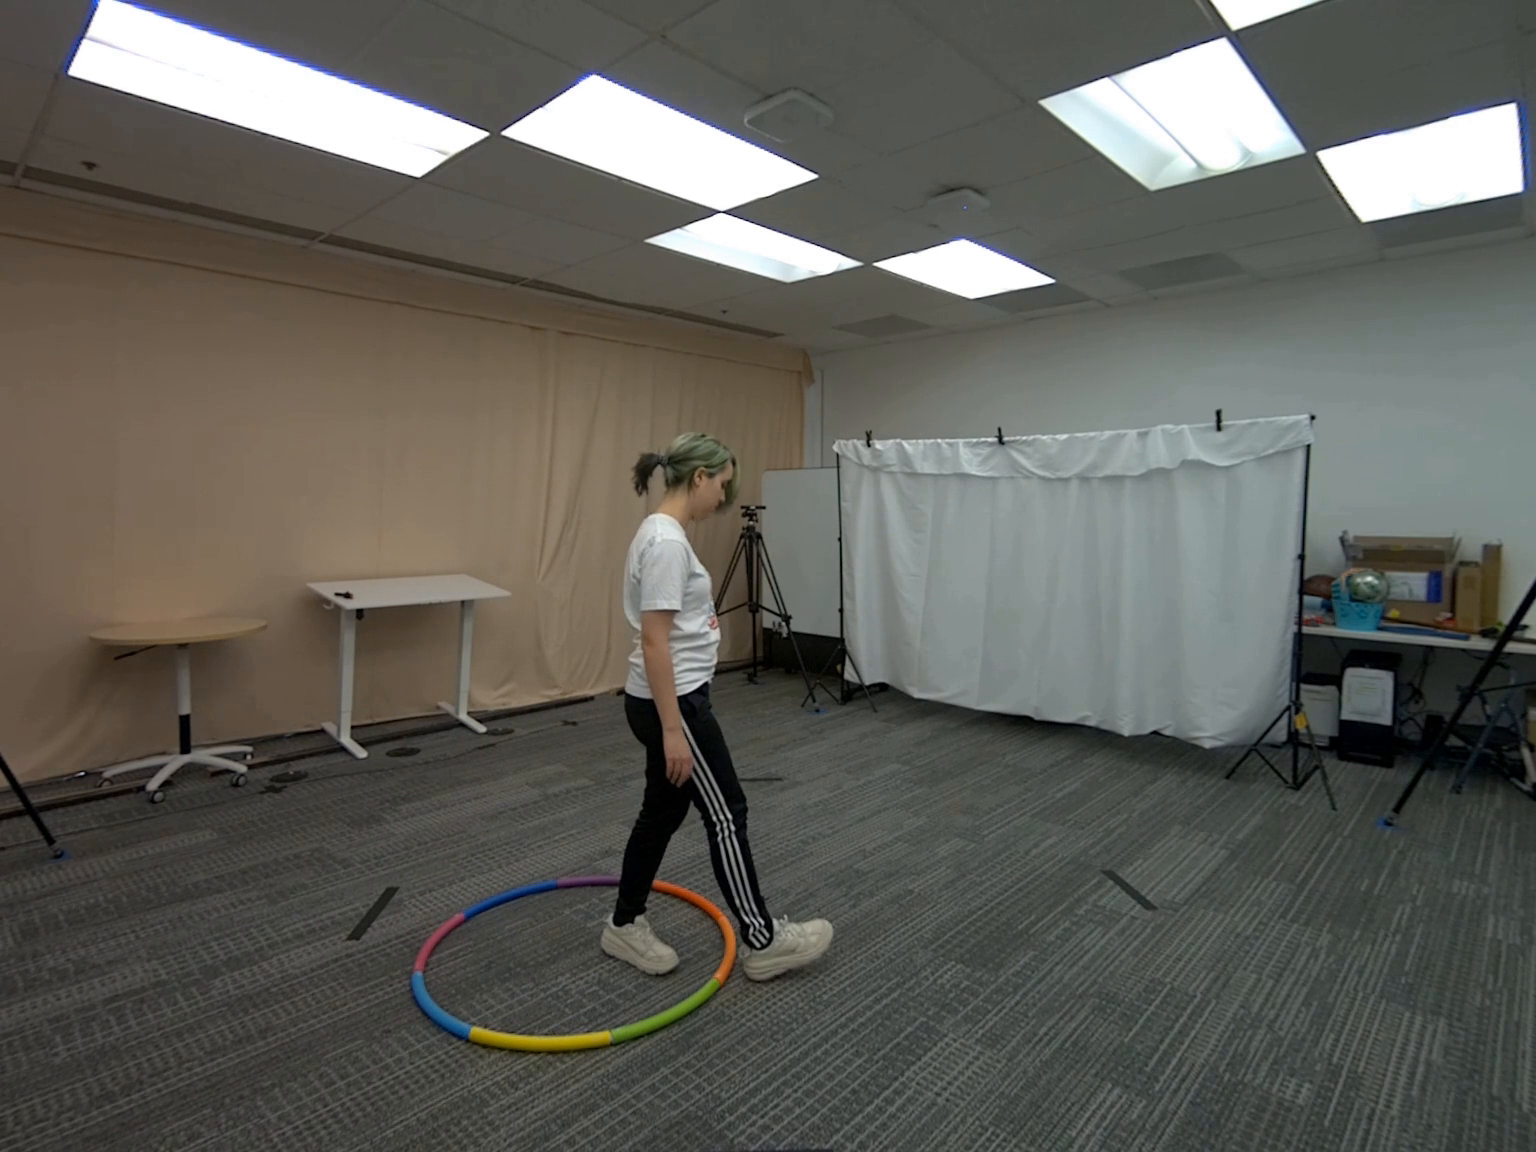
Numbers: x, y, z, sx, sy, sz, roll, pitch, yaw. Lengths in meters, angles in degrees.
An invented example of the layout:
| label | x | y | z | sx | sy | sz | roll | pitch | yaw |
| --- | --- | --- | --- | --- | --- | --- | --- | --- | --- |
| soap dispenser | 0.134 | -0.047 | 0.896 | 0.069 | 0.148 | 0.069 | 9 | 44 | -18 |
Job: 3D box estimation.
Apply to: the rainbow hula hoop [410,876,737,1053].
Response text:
| label | x | y | z | sx | sy | sz | roll | pitch | yaw |
| --- | --- | --- | --- | --- | --- | --- | --- | --- | --- |
| rainbow hula hoop | -0.589 | 1.153 | 2.629 | 0.985 | 0.051 | 0.989 | 0 | 4 | -2 |
